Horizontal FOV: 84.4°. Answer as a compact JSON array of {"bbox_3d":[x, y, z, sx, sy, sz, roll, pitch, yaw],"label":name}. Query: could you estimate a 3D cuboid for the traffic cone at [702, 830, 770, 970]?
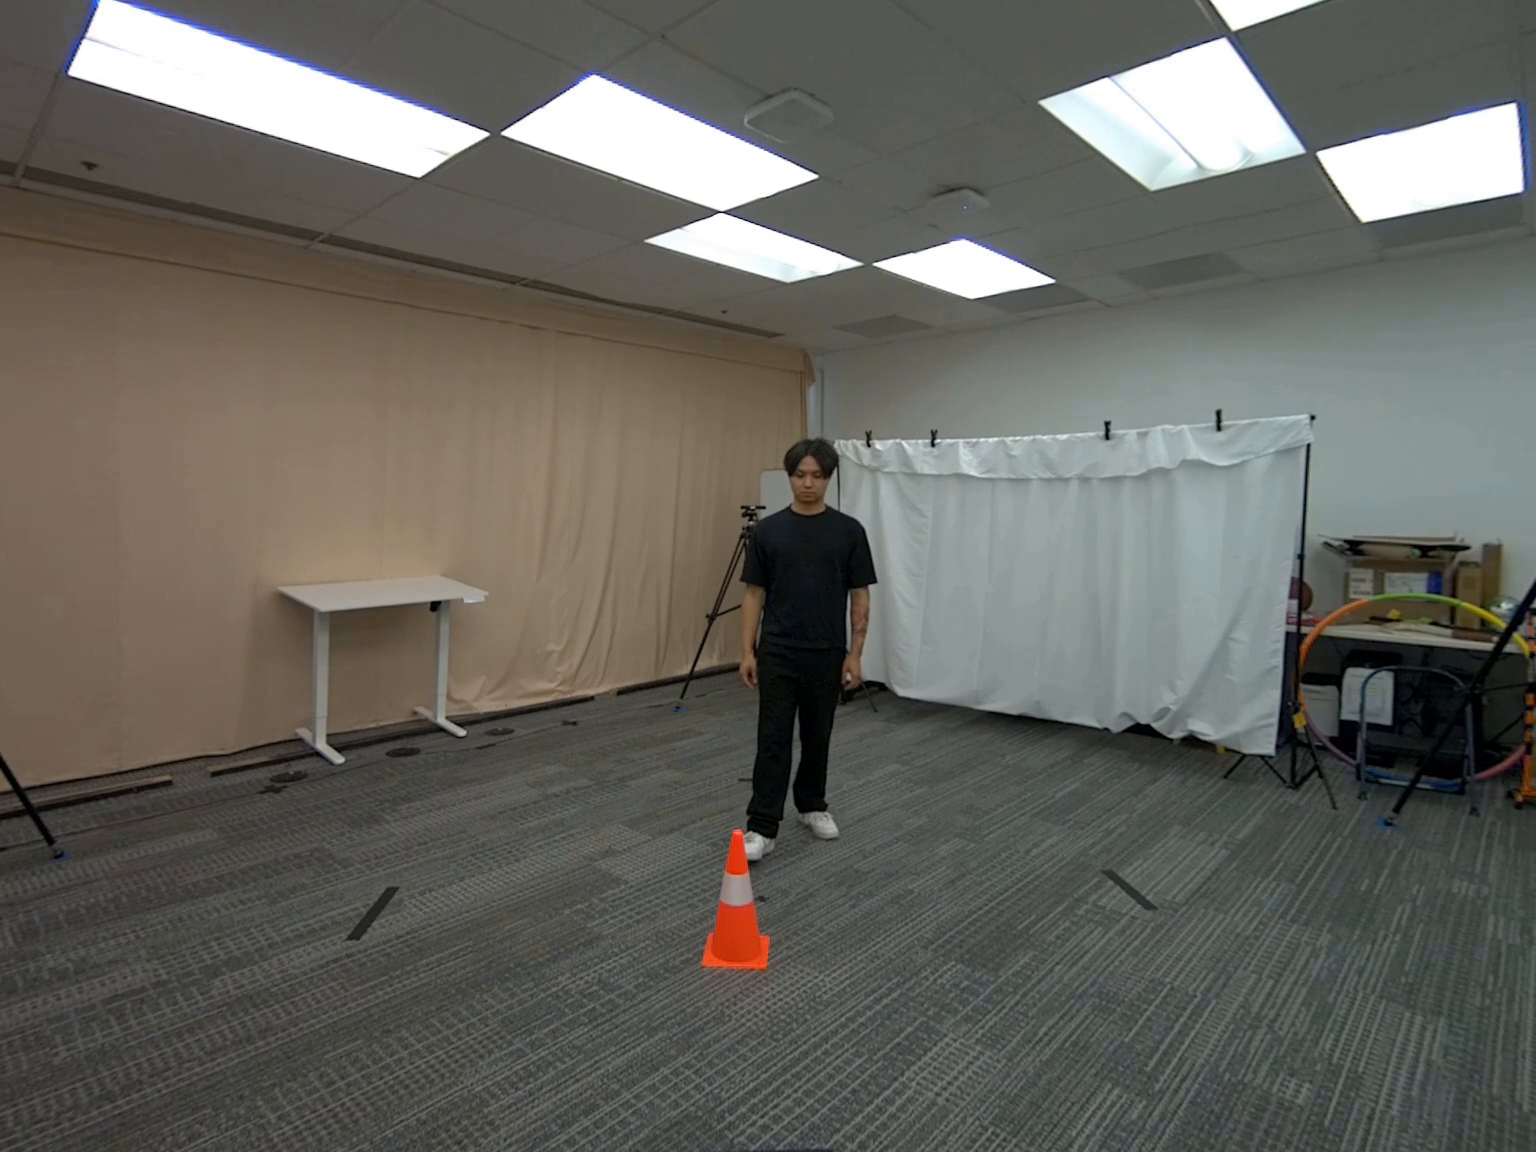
[{"bbox_3d":[-0.107,0.989,2.624,0.206,0.383,0.202,-1,3,5],"label":"traffic cone"}]
